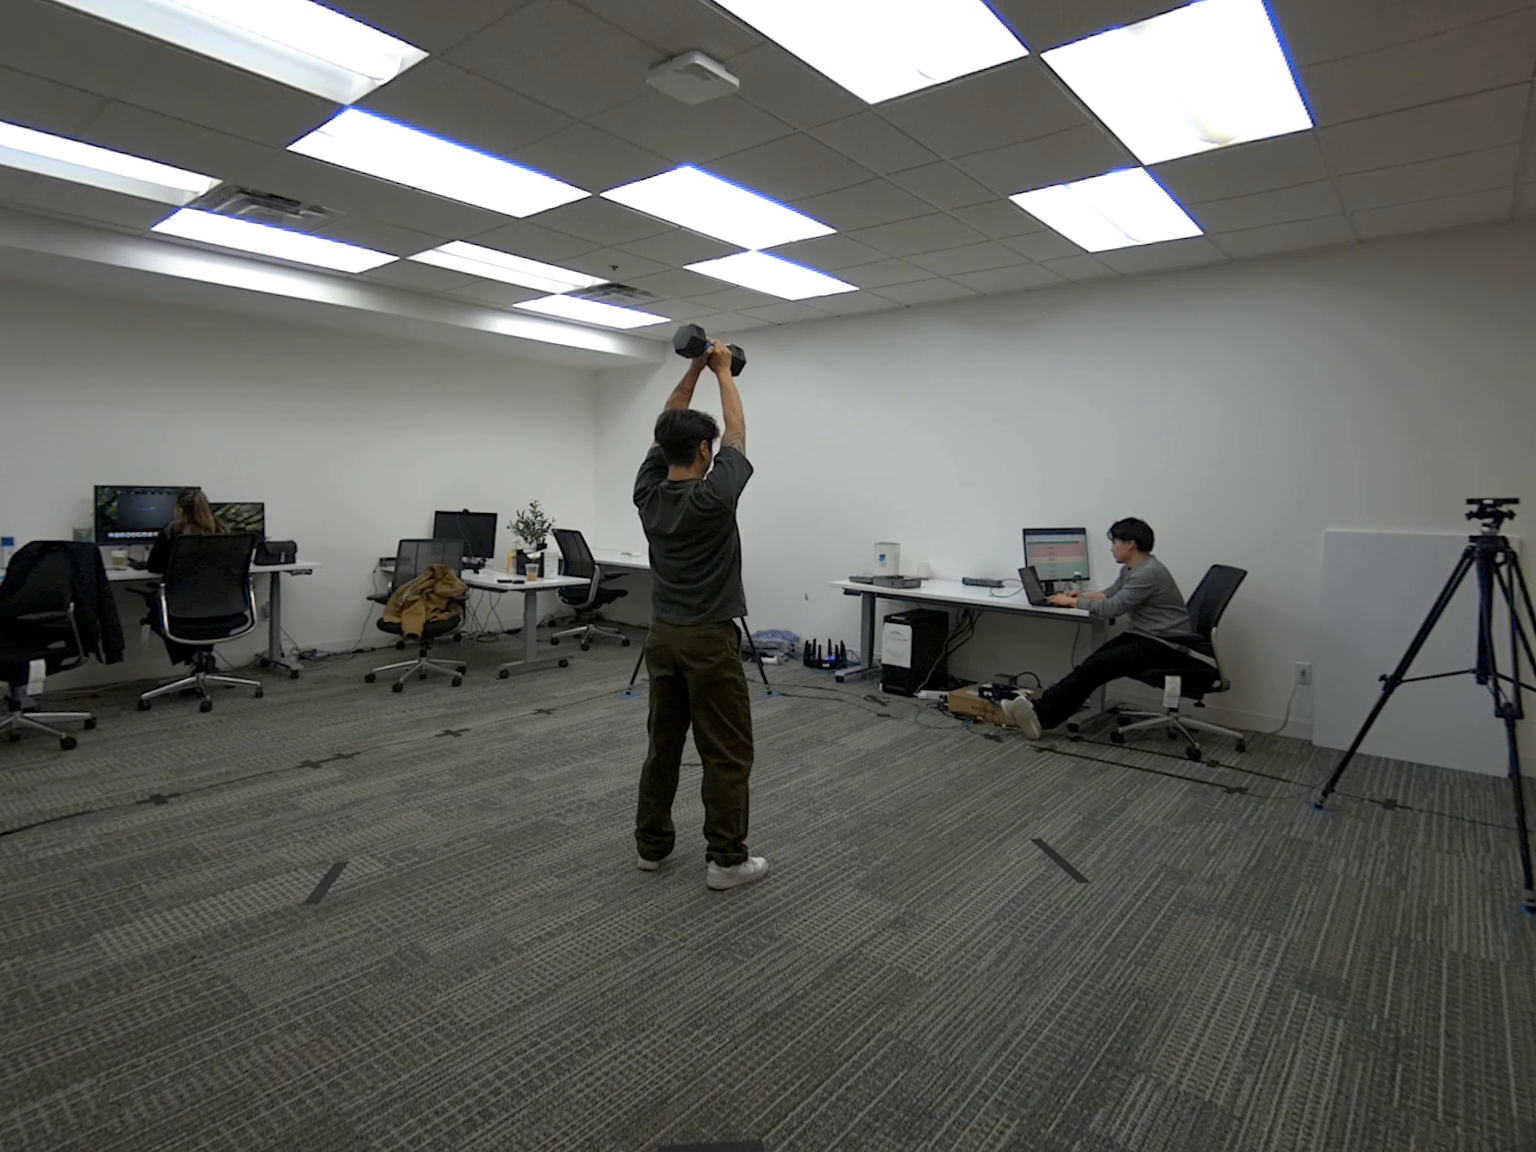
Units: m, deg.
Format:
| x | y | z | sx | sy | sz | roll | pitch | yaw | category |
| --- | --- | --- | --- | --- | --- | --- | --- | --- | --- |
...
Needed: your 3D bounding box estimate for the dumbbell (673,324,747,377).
| x | y | z | sx | sy | sz | roll | pitch | yaw | category |
| --- | --- | --- | --- | --- | --- | --- | --- | --- | --- |
| -0.229 | -0.839 | 3.138 | 0.110 | 0.126 | 0.282 | -33 | -31 | 33 | dumbbell |
